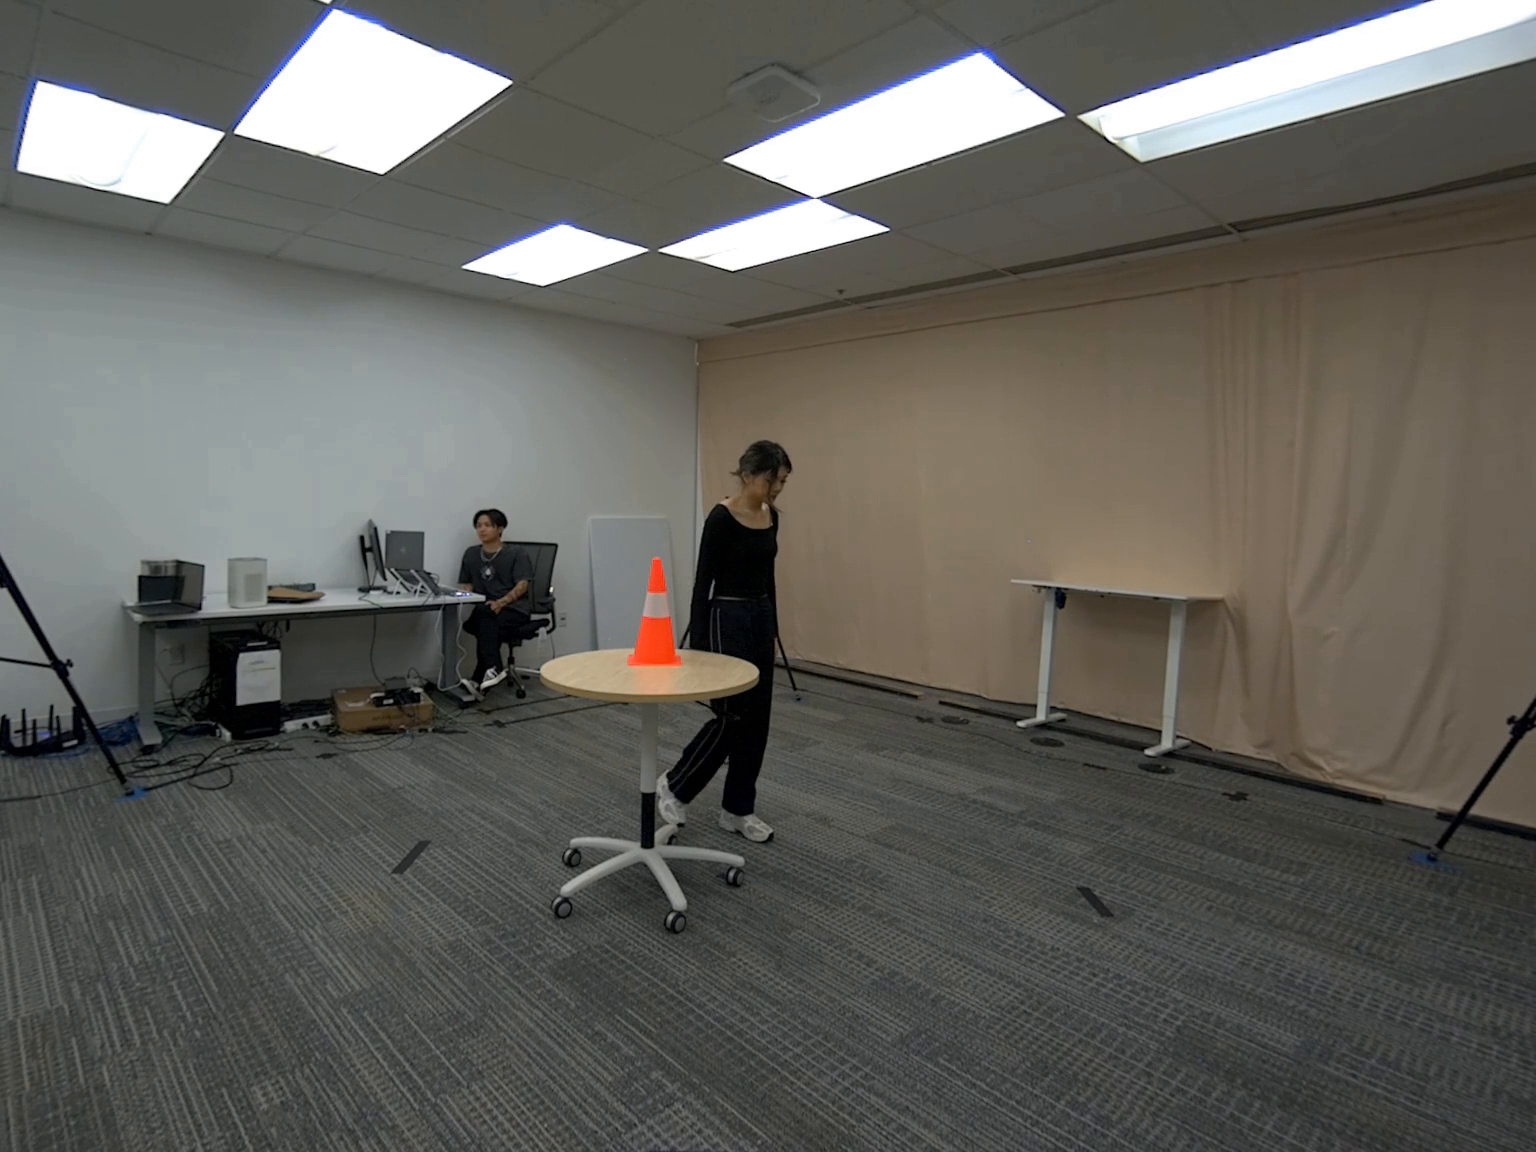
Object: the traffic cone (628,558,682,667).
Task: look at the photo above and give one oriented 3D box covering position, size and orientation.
[{"bbox_3d":[-0.425,0.127,3.108,0.203,0.383,0.205,1,3,-12],"label":"traffic cone"}]
